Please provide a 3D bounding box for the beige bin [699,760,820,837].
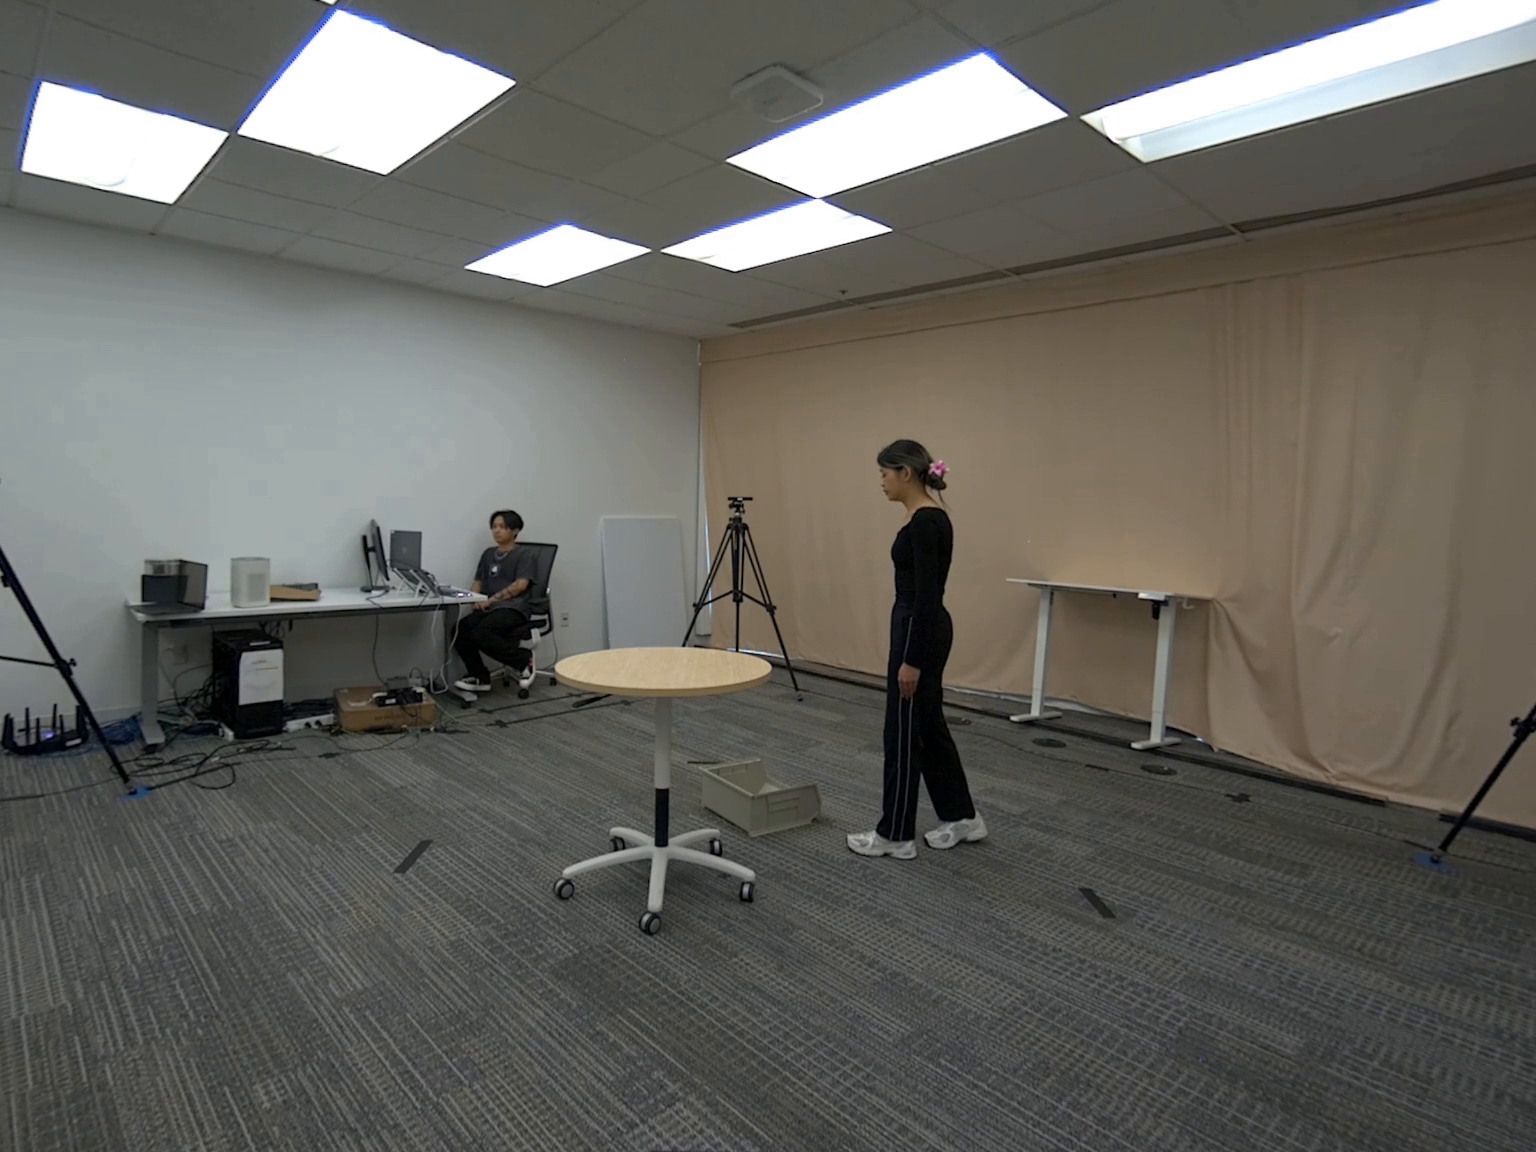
[{"bbox_3d":[-0.049,0.967,3.736,0.369,0.188,0.433,-3,7,-34],"label":"beige bin"}]
